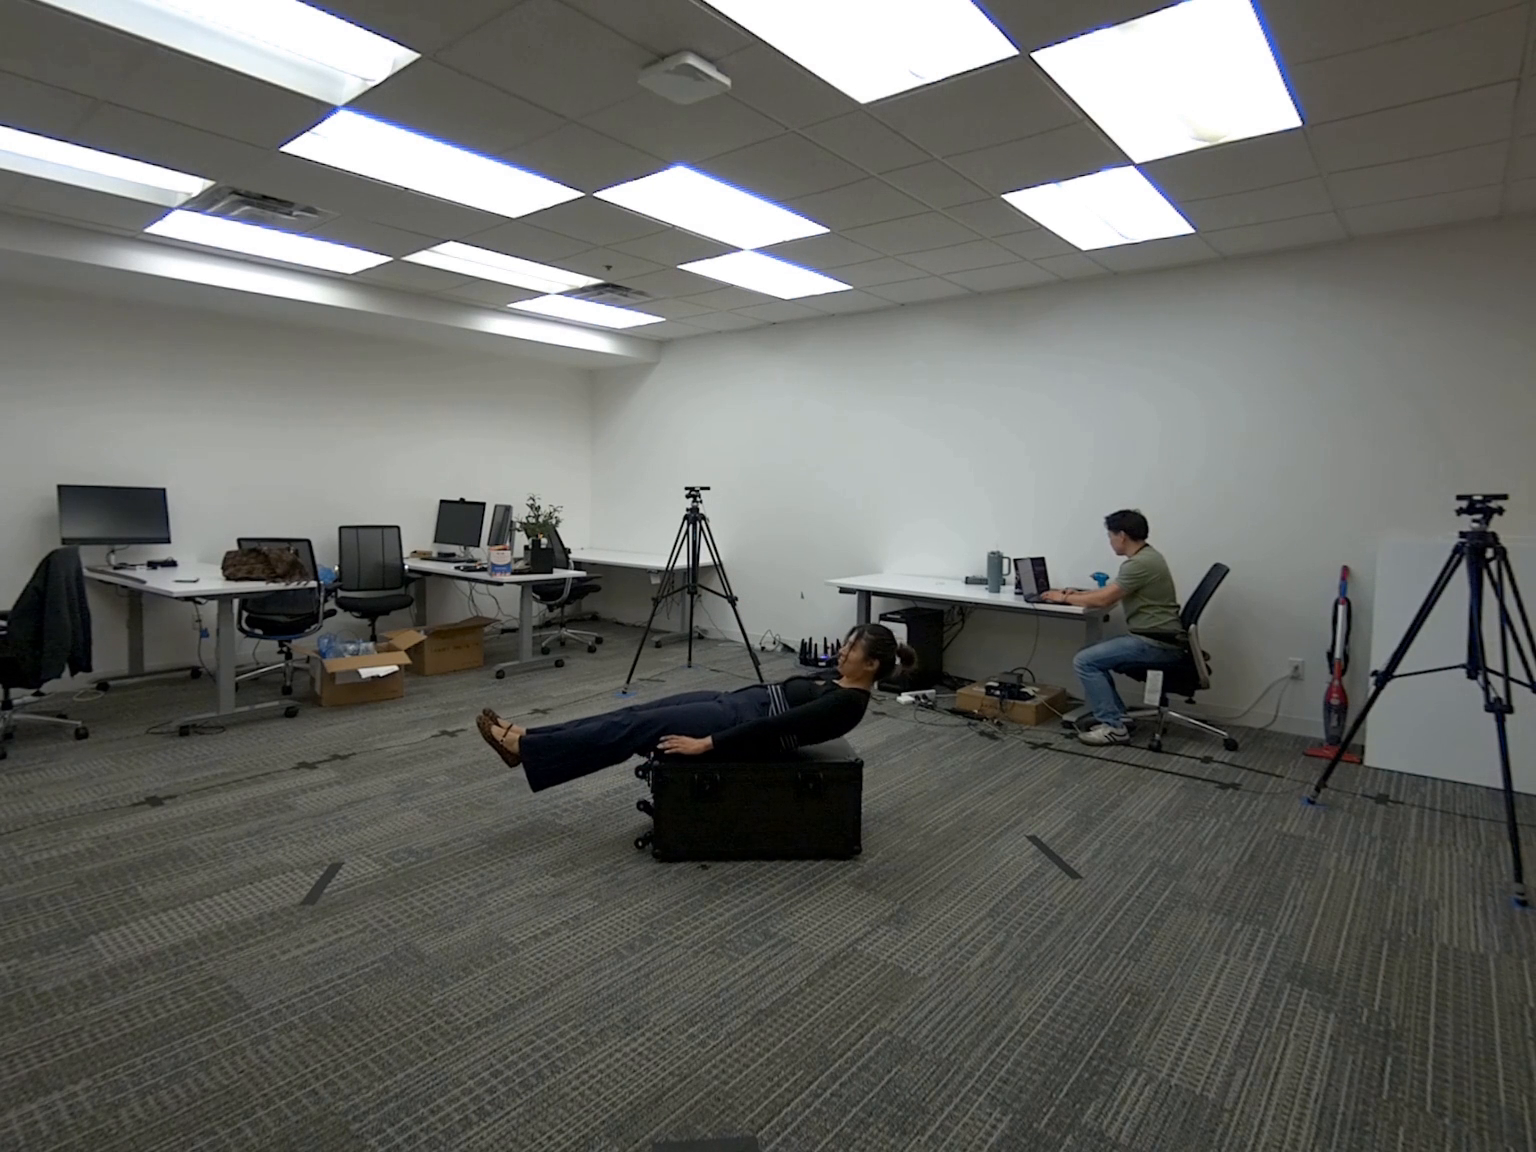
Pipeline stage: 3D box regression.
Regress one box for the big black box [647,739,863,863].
[{"bbox_3d":[-0.108,0.840,3.386,0.857,0.395,0.526,0,5,-6],"label":"big black box"}]
